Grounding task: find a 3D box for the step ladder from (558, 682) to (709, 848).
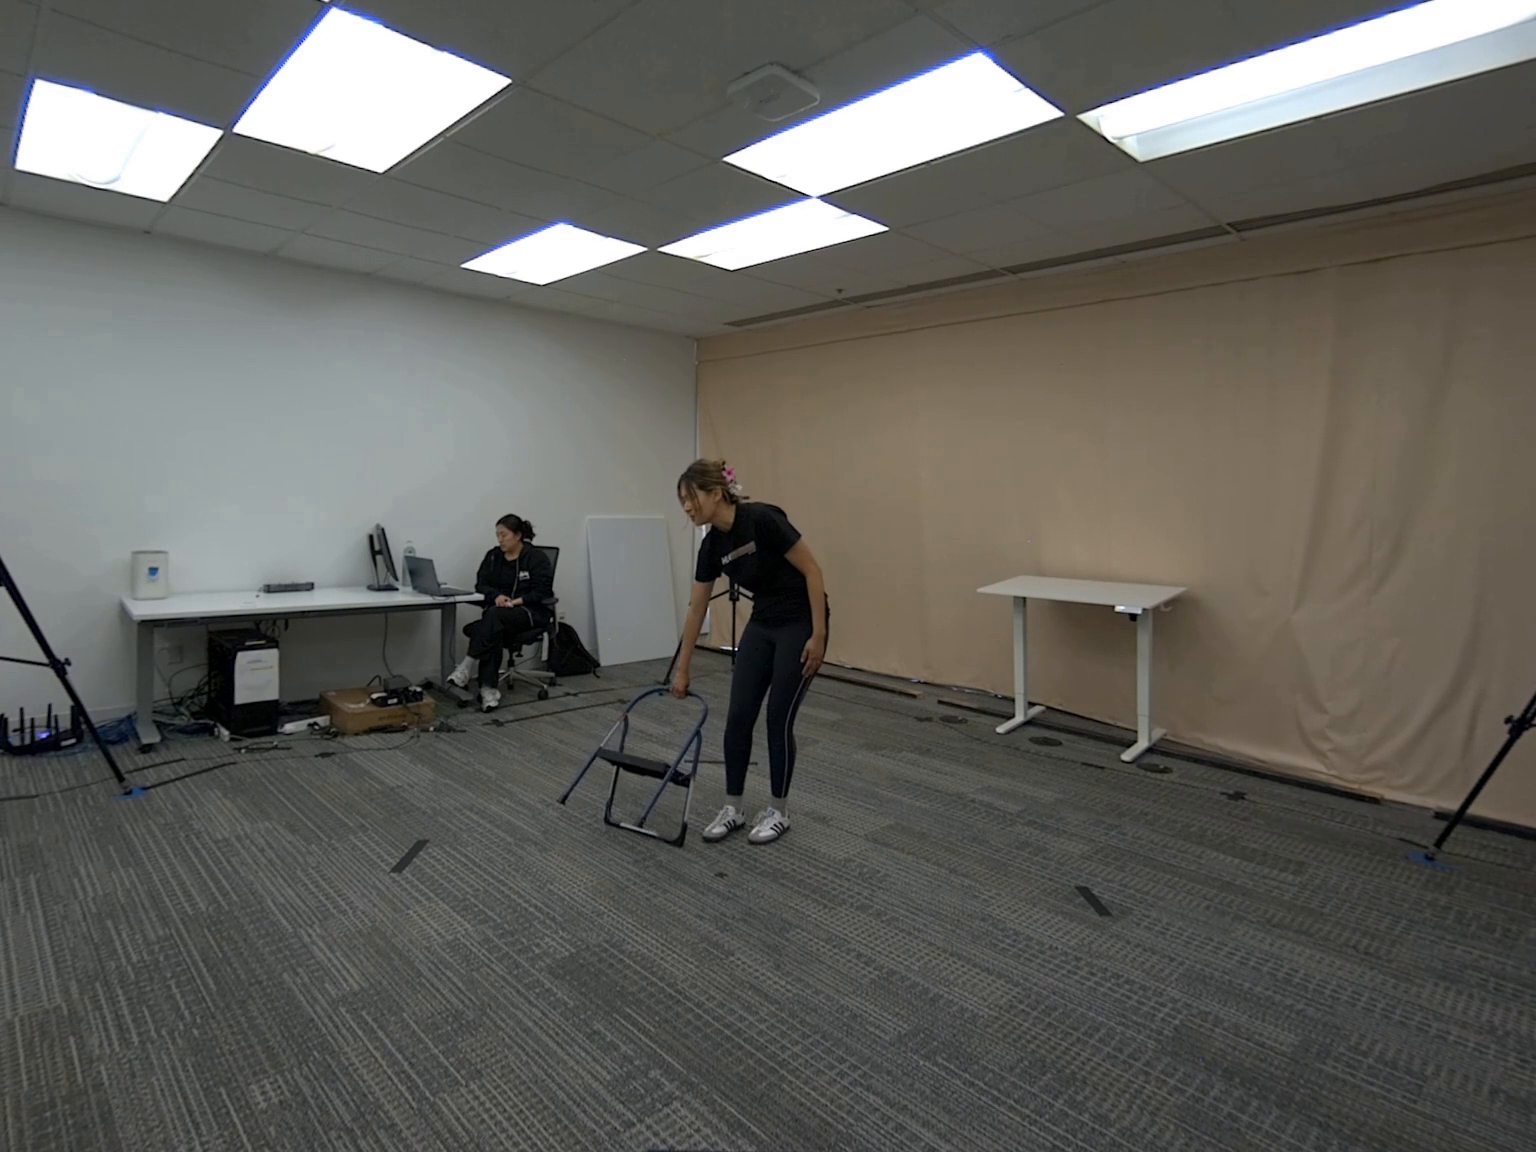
[{"bbox_3d":[-0.504,0.727,3.444,0.440,0.612,0.338,4,-27,31],"label":"step ladder"}]
